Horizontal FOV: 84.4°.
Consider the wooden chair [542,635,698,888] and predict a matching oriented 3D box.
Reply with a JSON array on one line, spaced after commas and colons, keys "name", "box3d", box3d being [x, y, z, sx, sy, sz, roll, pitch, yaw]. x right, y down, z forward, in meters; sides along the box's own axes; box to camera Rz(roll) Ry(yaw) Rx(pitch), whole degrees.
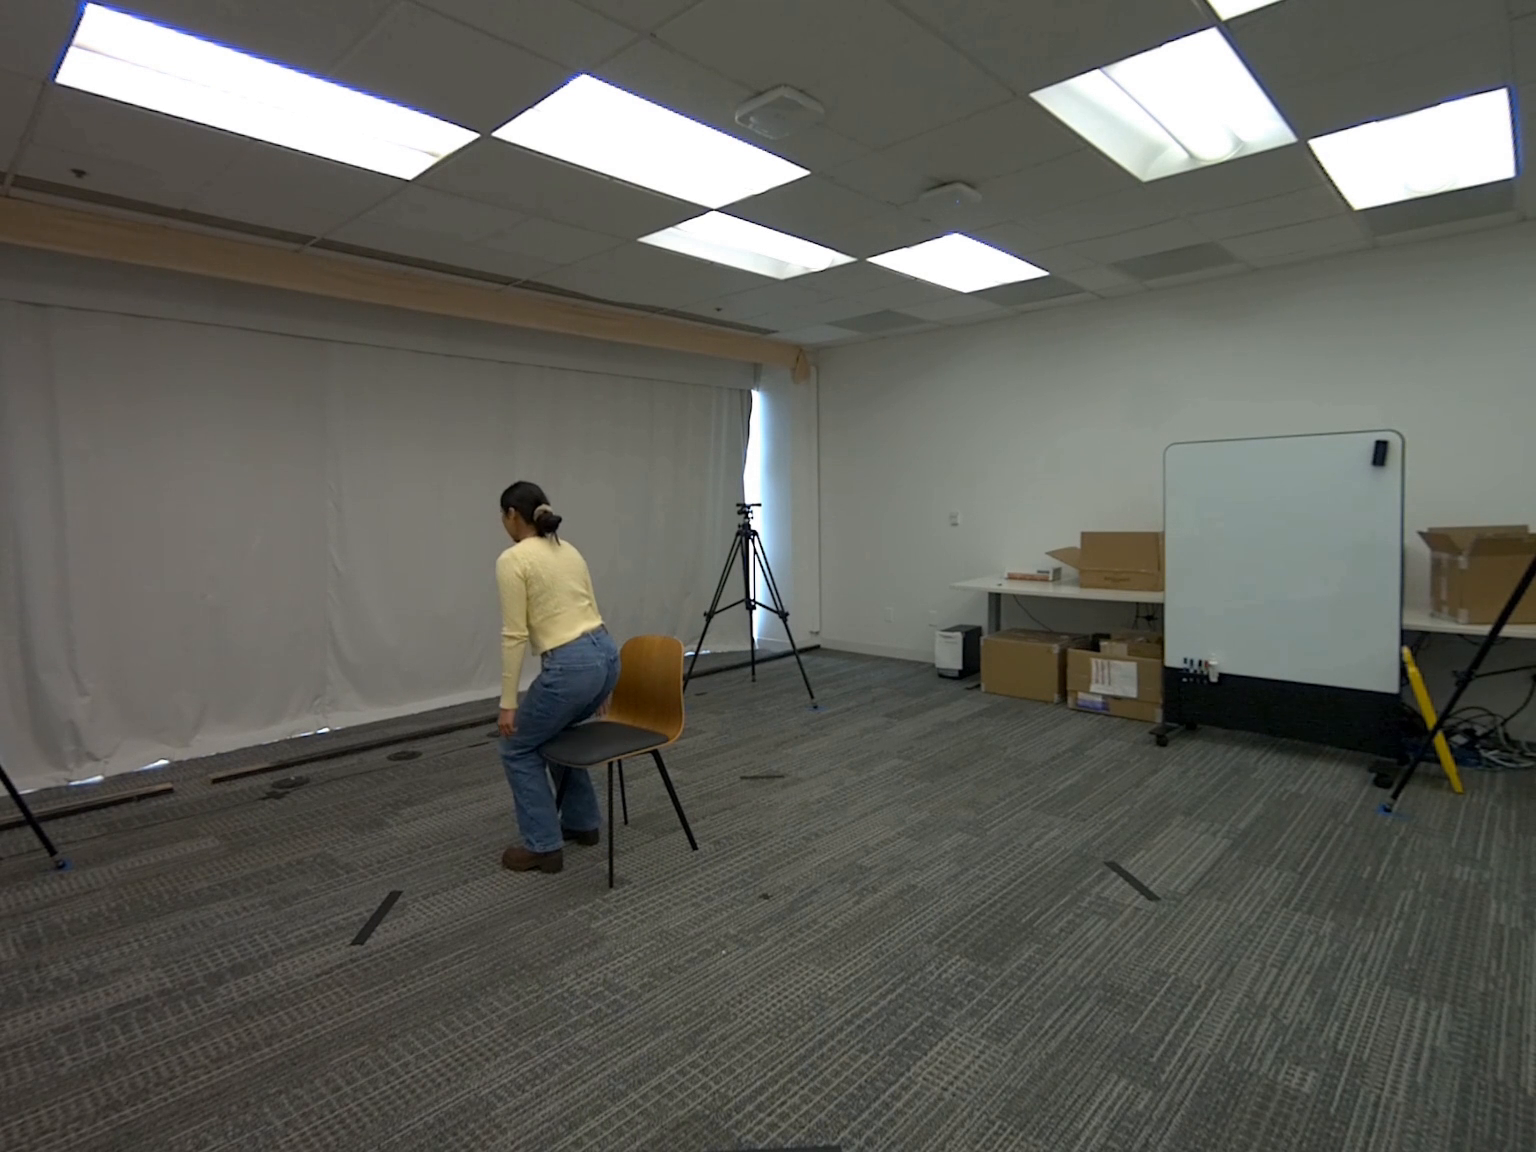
[{"name": "wooden chair", "box3d": [-0.607, 0.692, 3.348, 0.494, 0.877, 0.506, 2, 1, 42]}]
